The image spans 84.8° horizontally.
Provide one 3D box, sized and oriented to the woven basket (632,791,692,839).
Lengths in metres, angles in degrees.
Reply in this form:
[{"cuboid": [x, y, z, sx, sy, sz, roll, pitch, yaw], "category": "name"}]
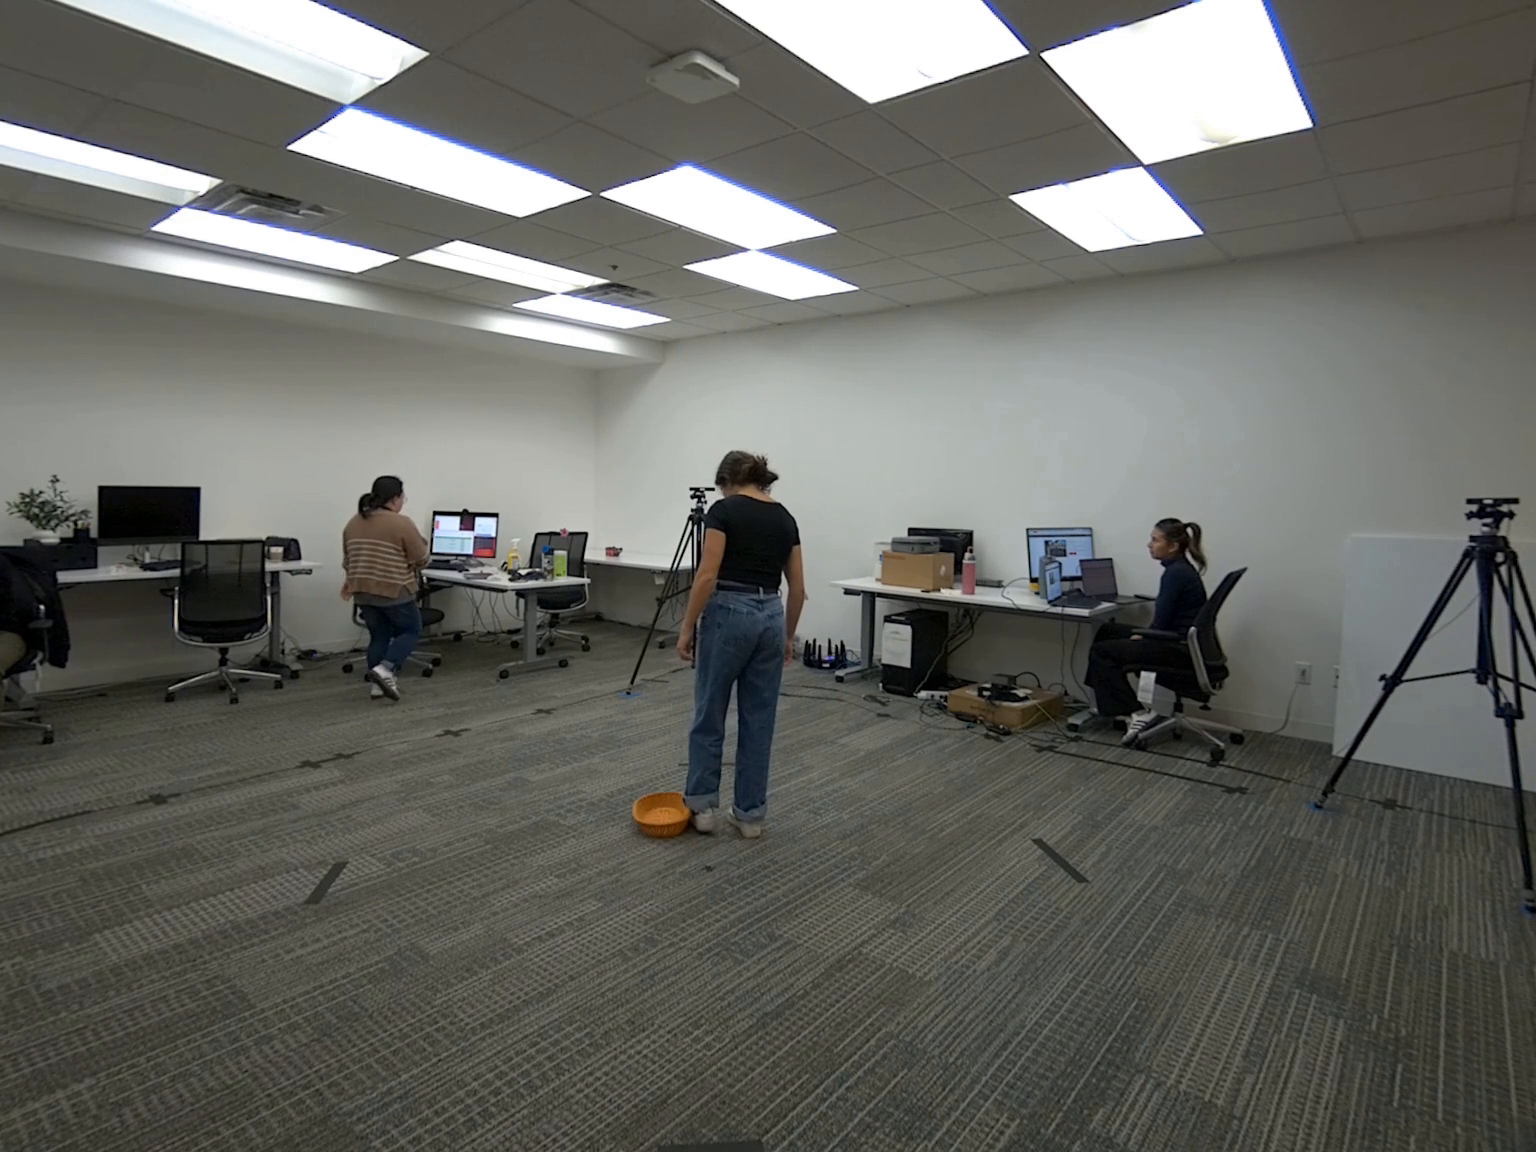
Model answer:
[{"cuboid": [-0.451, 0.979, 3.515, 0.252, 0.073, 0.353, -2, 7, -2], "category": "woven basket"}]
